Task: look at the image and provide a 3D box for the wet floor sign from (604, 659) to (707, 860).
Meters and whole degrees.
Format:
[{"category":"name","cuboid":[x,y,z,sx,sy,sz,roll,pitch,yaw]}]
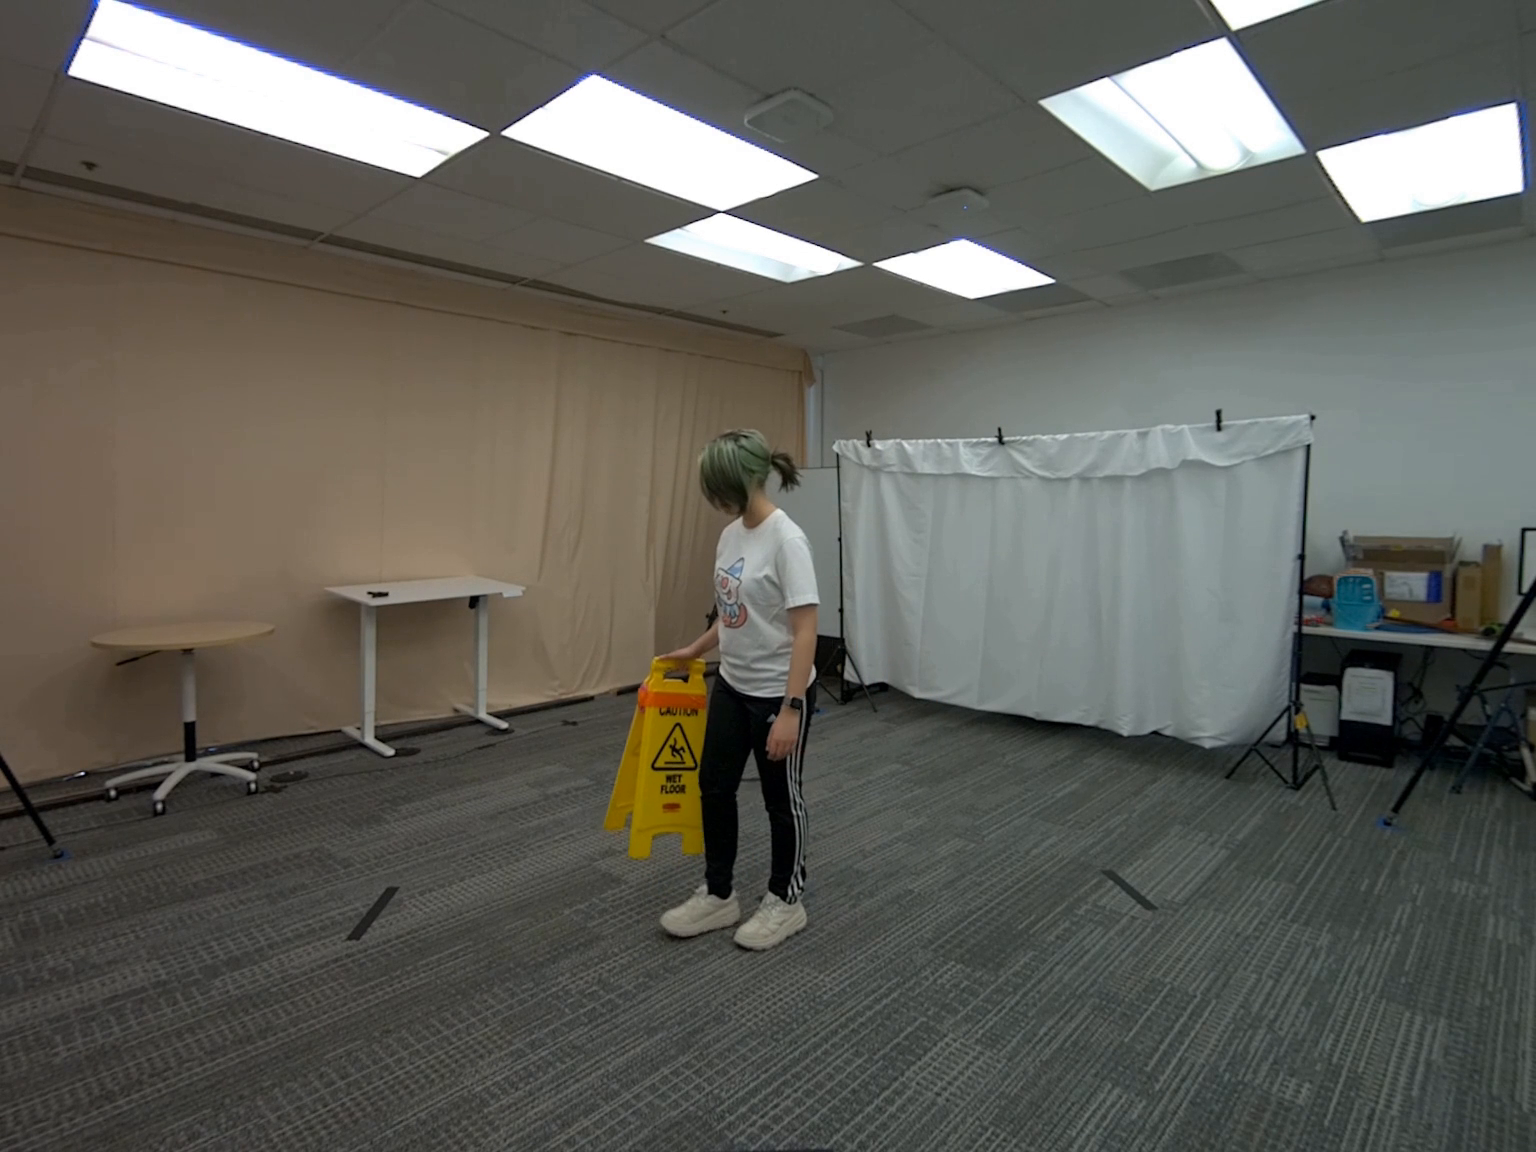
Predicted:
[{"category":"wet floor sign","cuboid":[-0.355,0.606,2.923,0.274,0.646,0.299,9,0,-32]}]
